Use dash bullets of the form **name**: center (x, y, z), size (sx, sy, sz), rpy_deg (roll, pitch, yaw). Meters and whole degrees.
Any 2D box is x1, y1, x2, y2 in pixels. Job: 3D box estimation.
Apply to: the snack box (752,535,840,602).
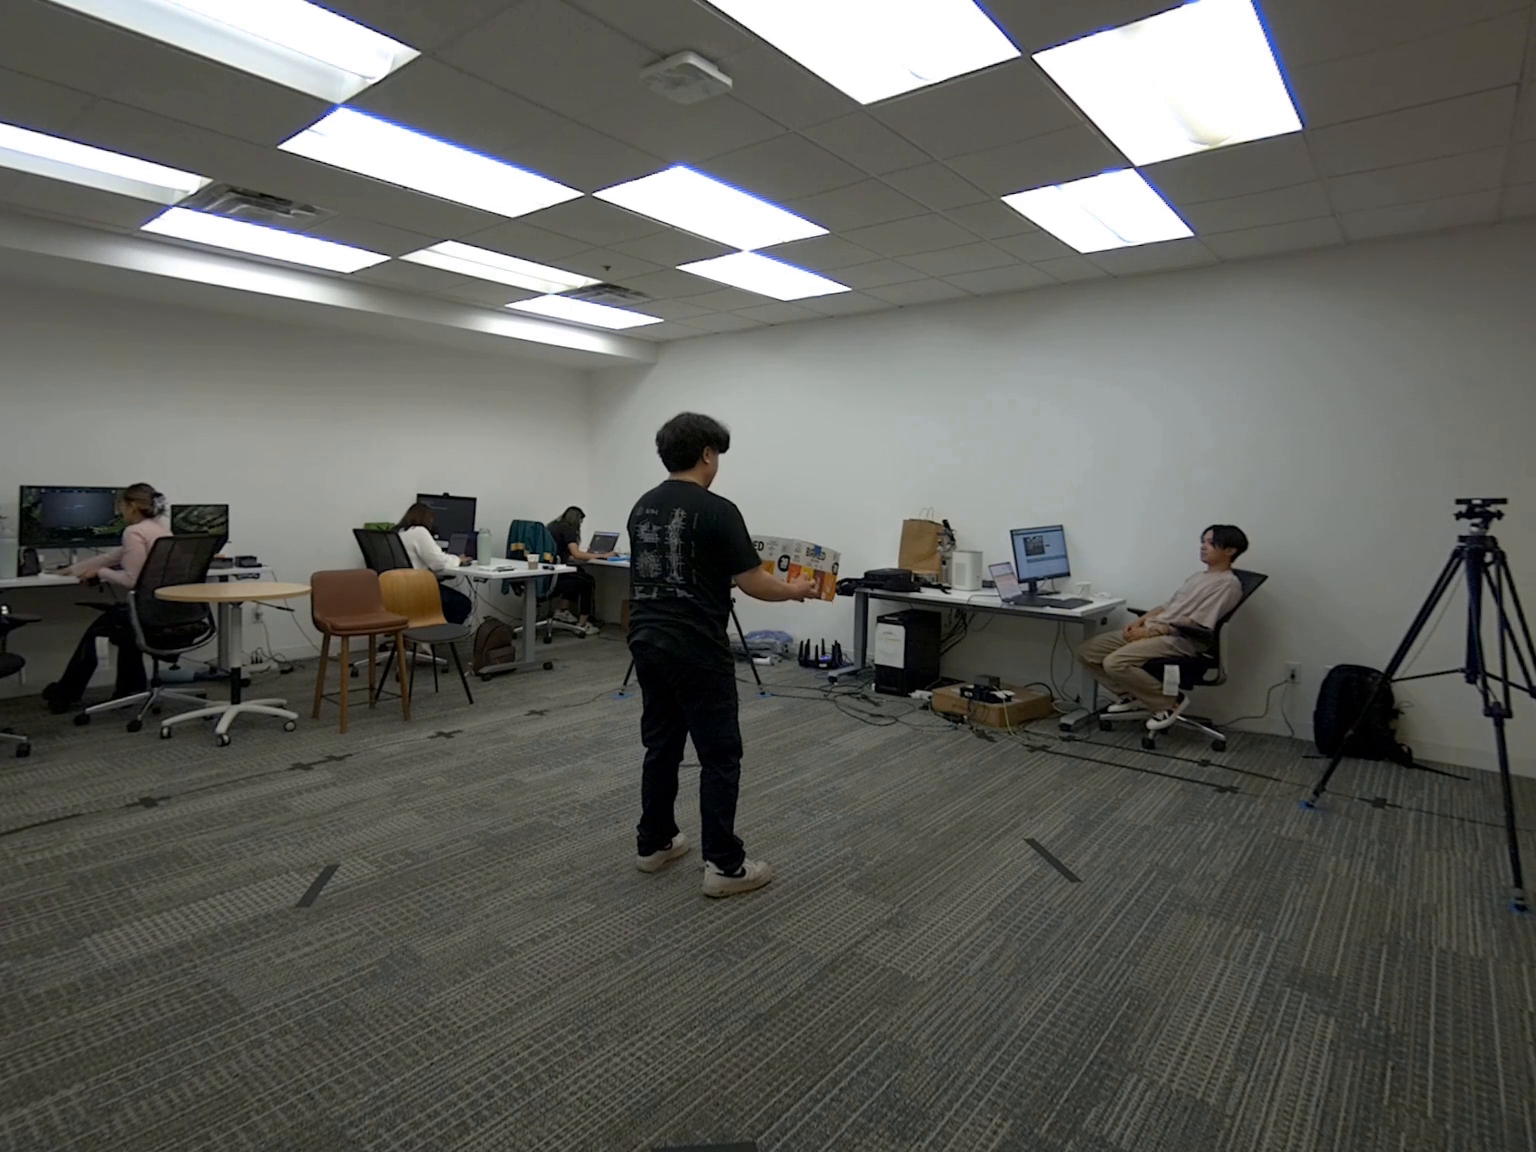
- **snack box**: center (0.008, -0.044, 3.395), size (0.419, 0.206, 0.328), rpy_deg (8, -4, 39)
